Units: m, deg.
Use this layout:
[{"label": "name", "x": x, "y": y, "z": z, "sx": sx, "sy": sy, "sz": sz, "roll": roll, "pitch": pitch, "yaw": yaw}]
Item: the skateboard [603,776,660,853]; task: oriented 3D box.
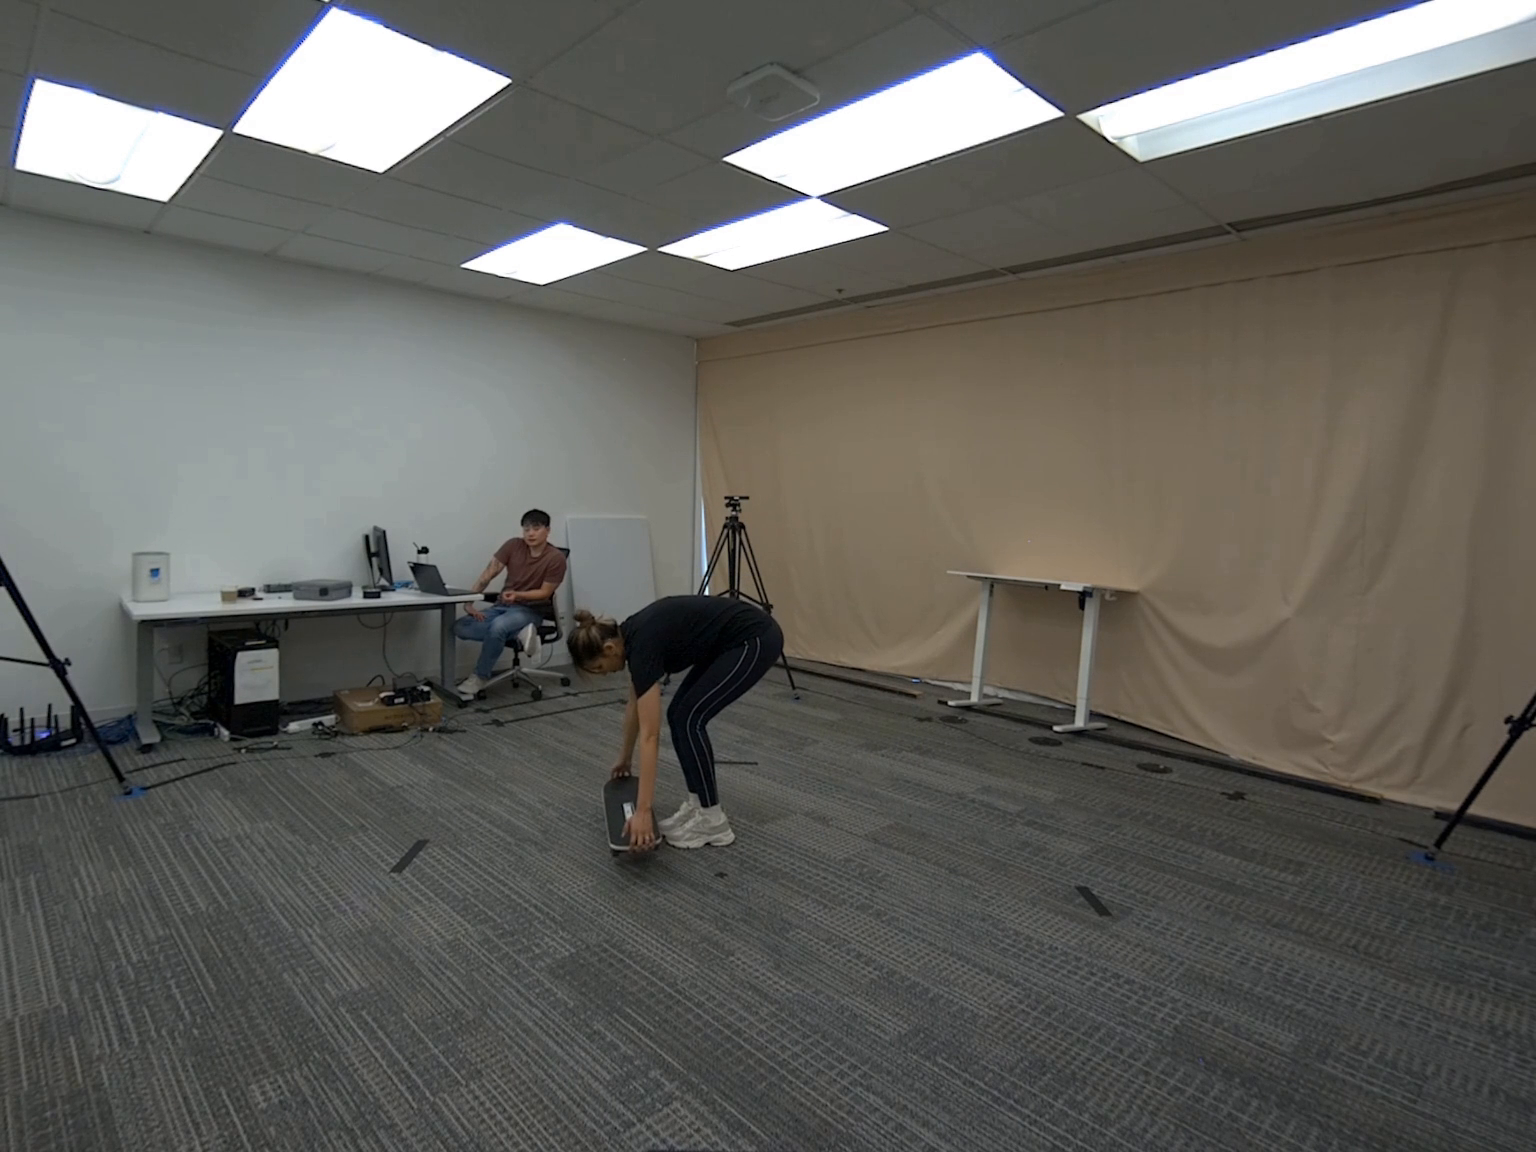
[{"label": "skateboard", "x": -0.562, "y": 0.969, "z": 3.363, "sx": 0.192, "sy": 0.110, "sz": 0.794, "roll": -5, "pitch": 6, "yaw": -12}]
